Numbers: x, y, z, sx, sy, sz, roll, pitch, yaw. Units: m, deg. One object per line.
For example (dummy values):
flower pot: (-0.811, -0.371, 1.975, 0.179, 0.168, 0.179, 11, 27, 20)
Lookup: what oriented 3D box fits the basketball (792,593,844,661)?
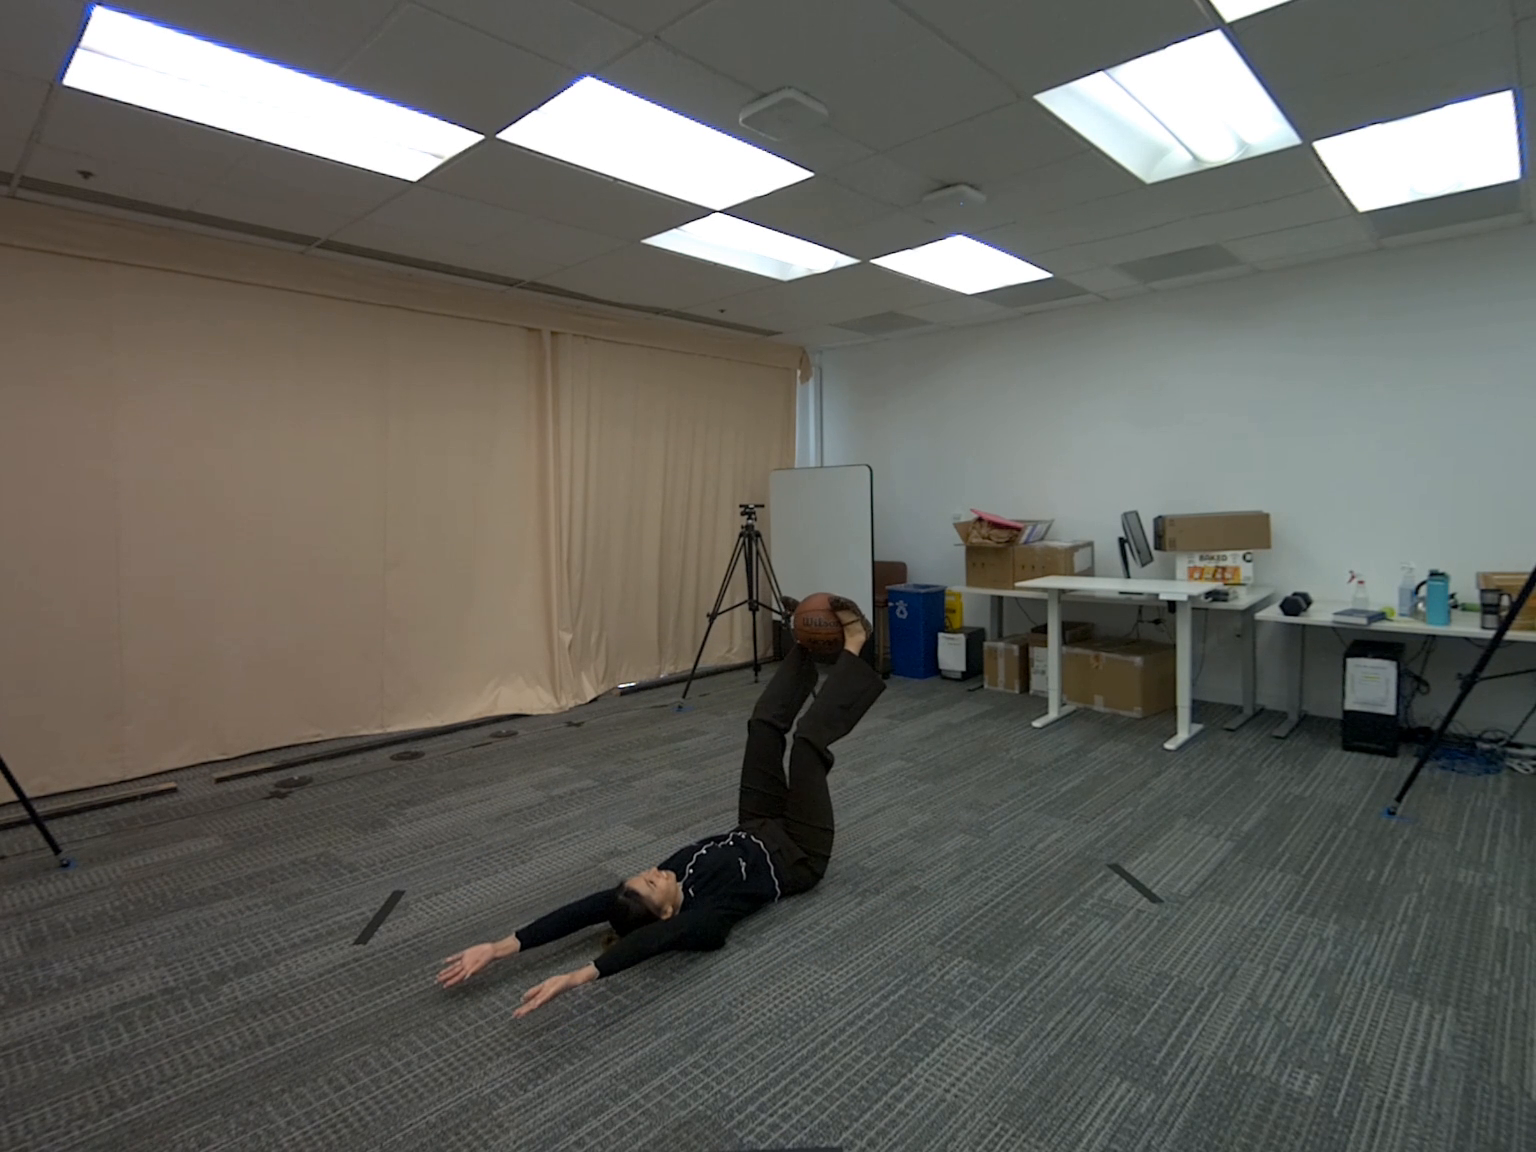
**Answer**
basketball: (0.218, 0.183, 3.290, 0.236, 0.235, 0.237, -1, 4, -2)
